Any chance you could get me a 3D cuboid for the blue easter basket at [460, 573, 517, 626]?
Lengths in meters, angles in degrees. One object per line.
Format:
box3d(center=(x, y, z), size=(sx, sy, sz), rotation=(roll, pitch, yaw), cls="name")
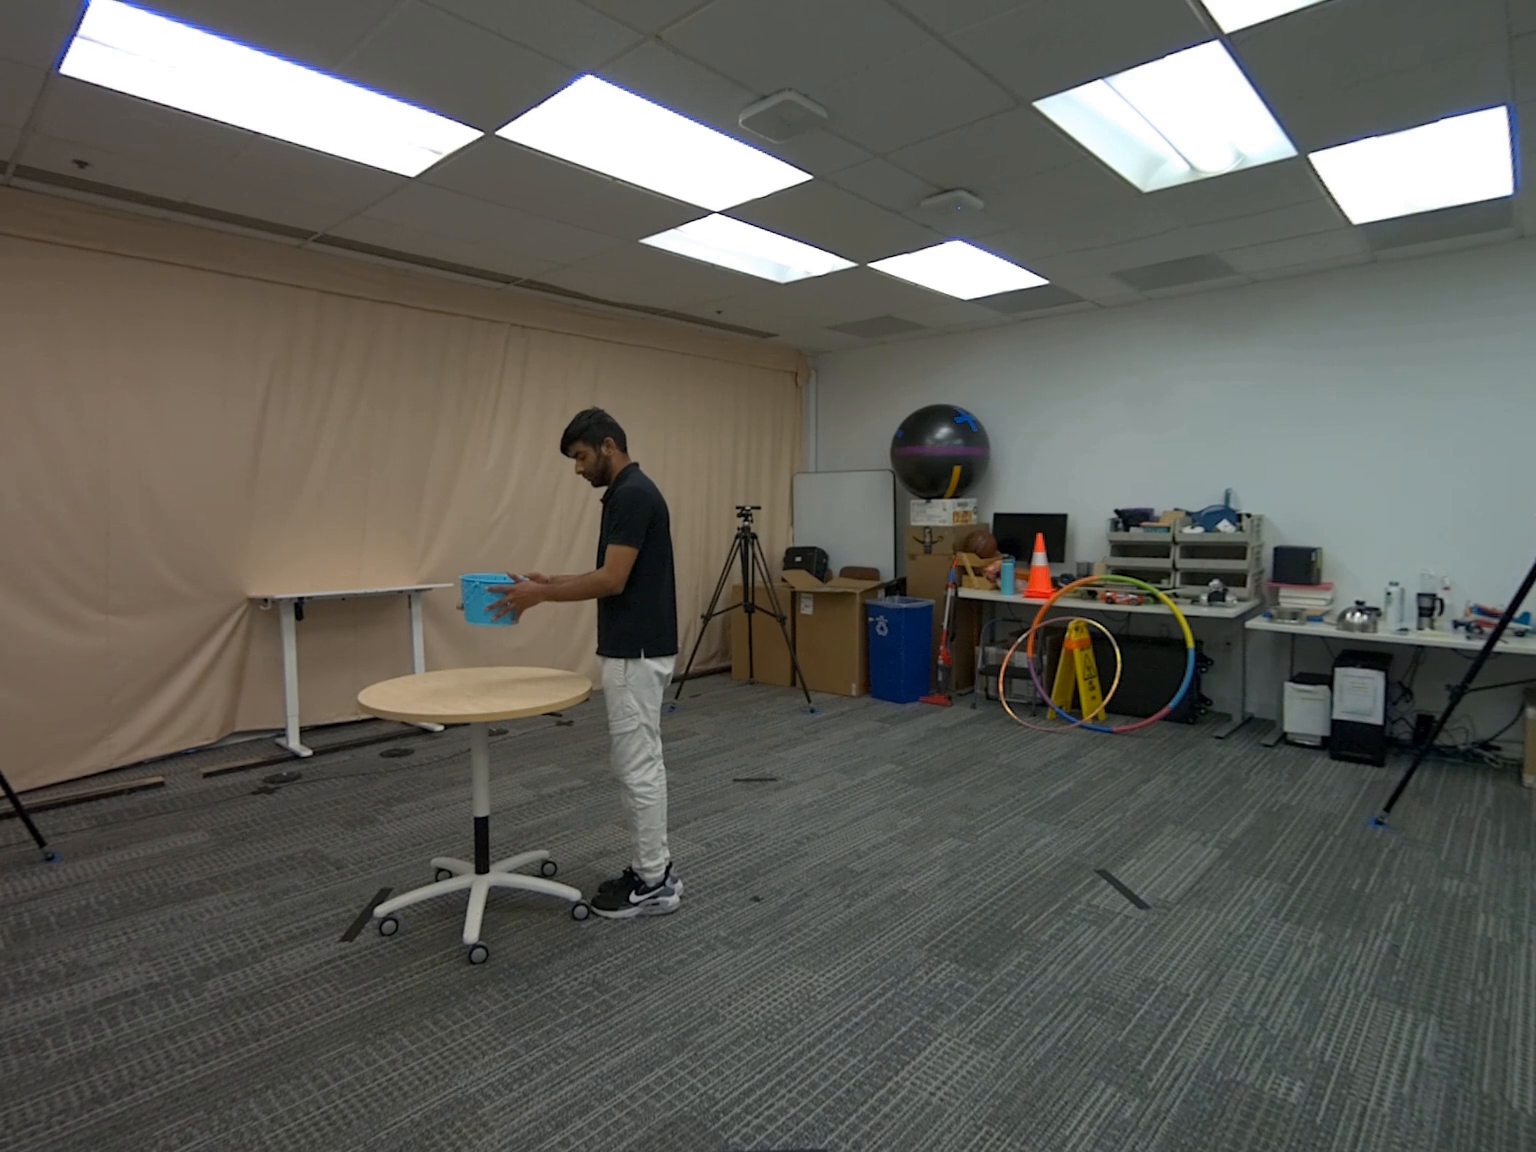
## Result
box3d(center=(-0.953, 0.095, 2.891), size=(0.243, 0.155, 0.245), rotation=(4, 6, -2), cls="blue easter basket")
